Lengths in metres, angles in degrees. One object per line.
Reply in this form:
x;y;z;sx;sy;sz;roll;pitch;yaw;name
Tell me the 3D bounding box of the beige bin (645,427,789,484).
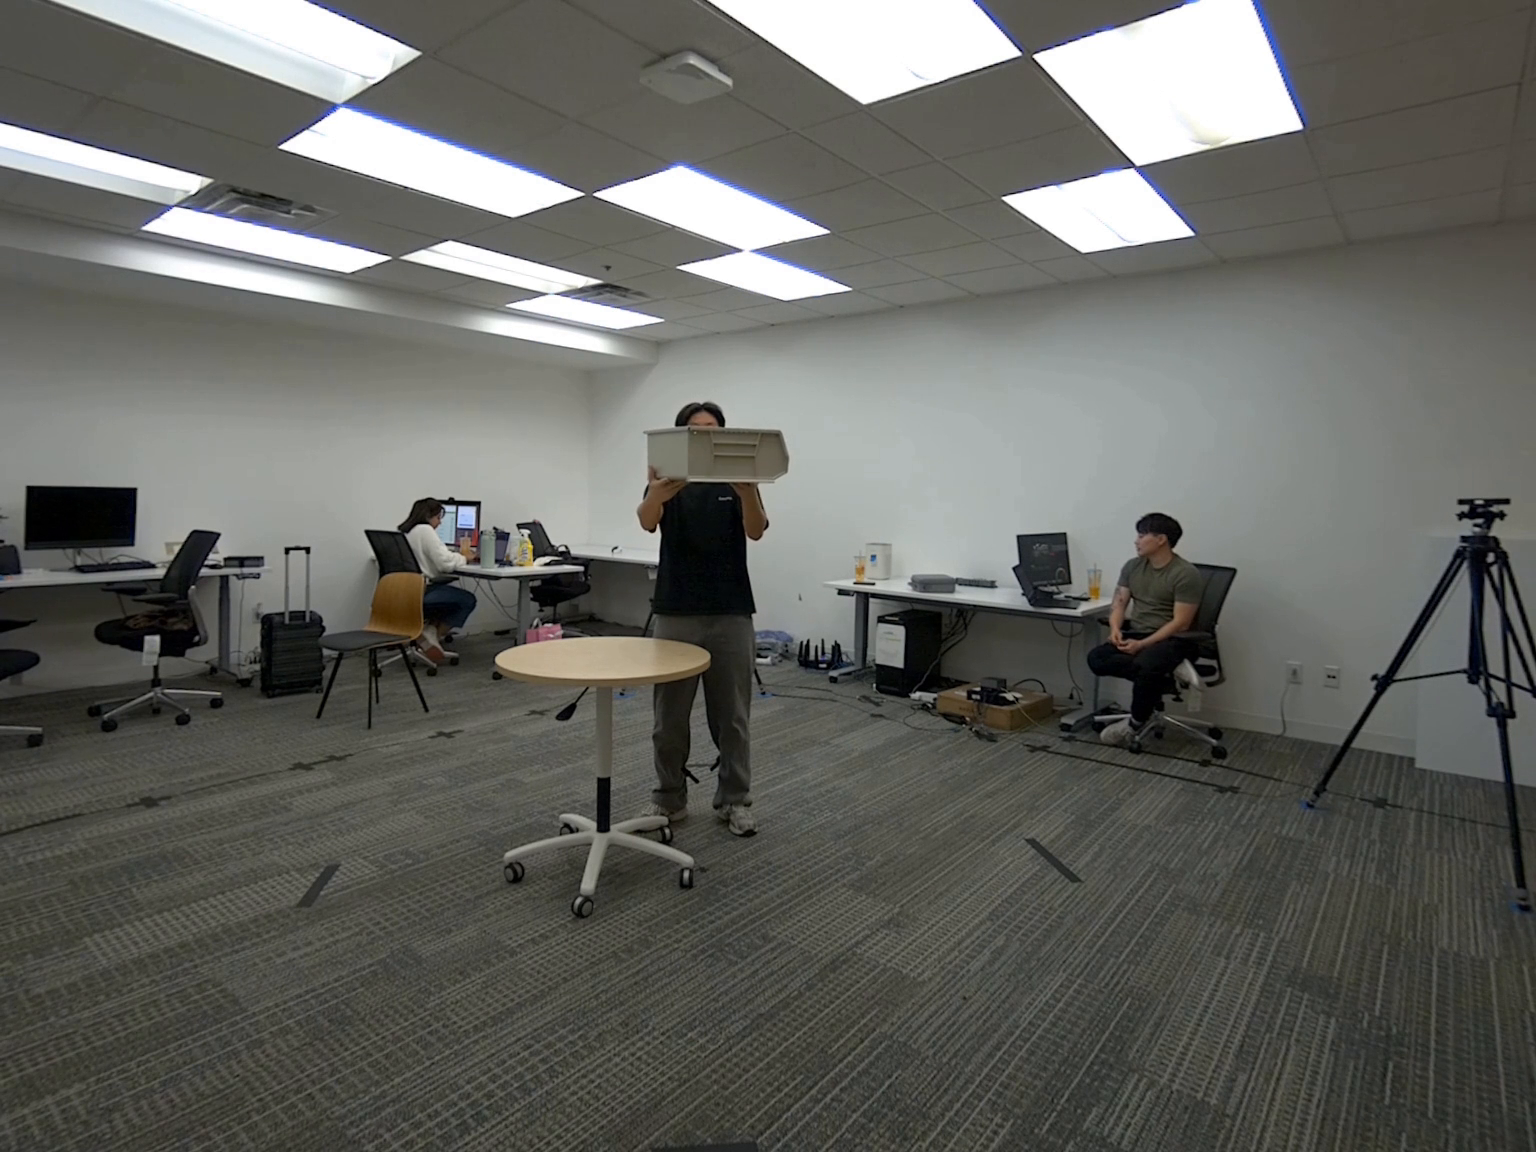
-0.194;-0.430;2.997;0.369;0.188;0.435;-3;8;-26;beige bin
